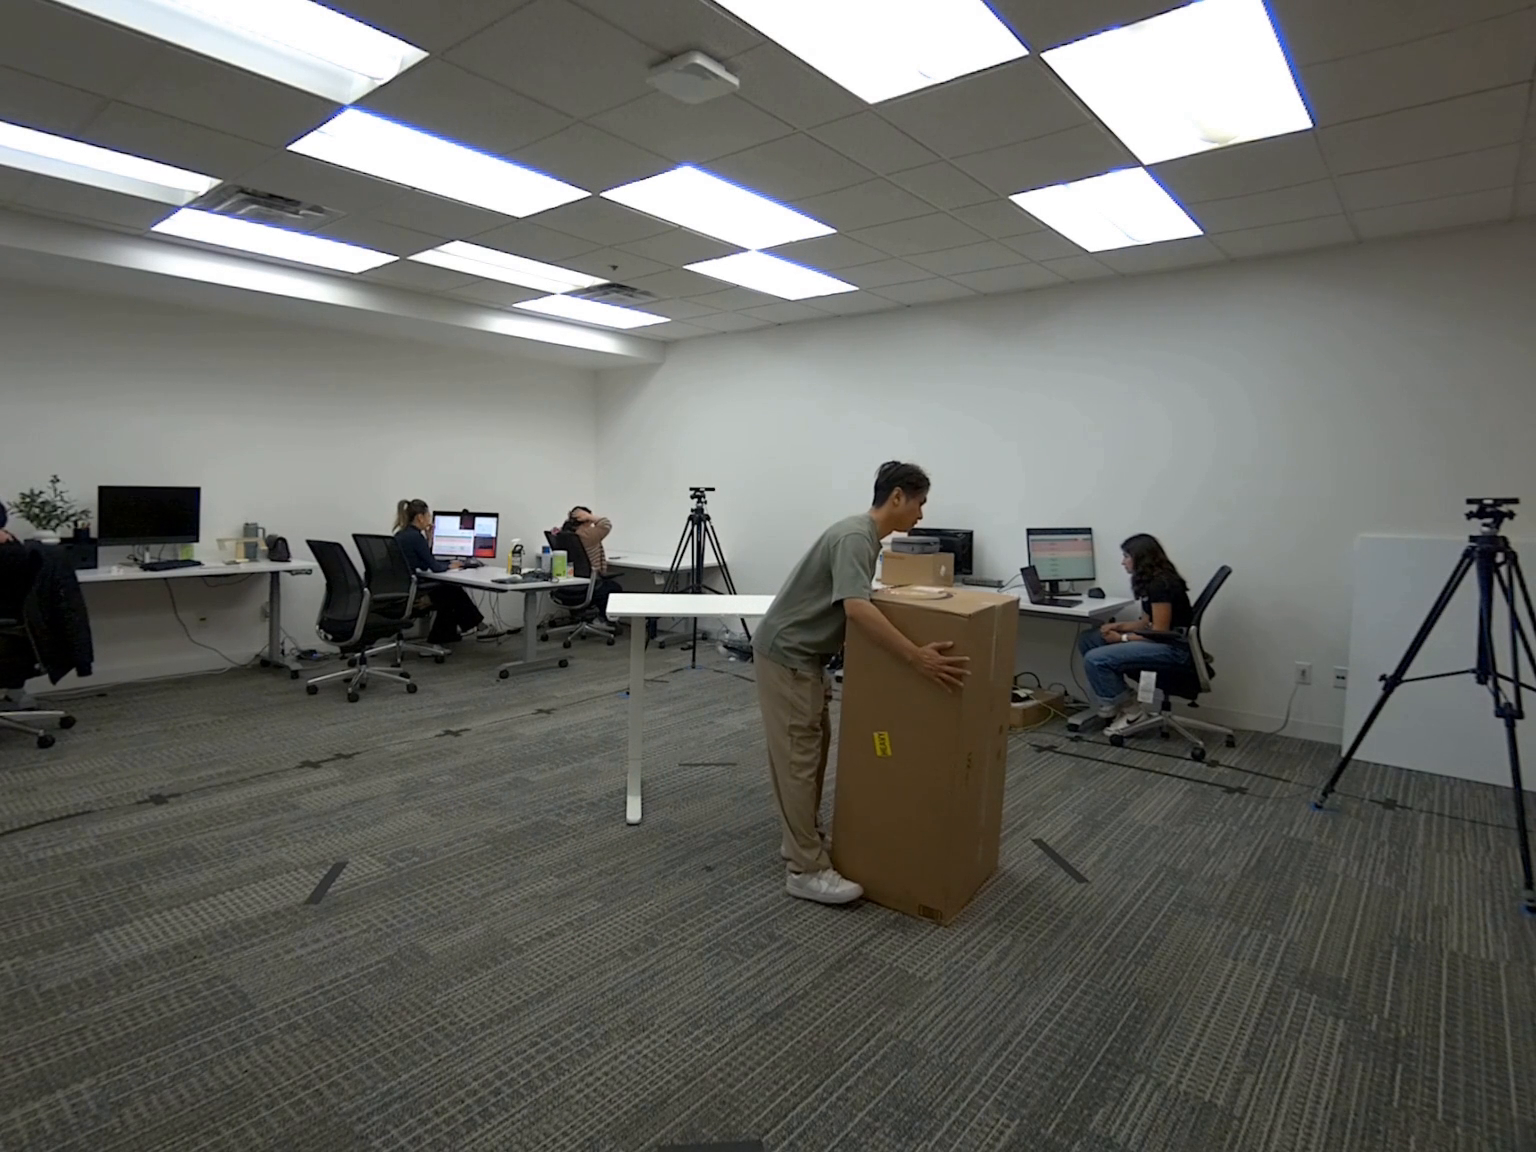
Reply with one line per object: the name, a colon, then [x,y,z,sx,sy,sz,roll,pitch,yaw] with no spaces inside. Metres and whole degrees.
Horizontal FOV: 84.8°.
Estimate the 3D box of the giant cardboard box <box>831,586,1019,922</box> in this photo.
giant cardboard box: [0.569,0.579,3.039,0.440,1.021,0.562,7,6,32]
